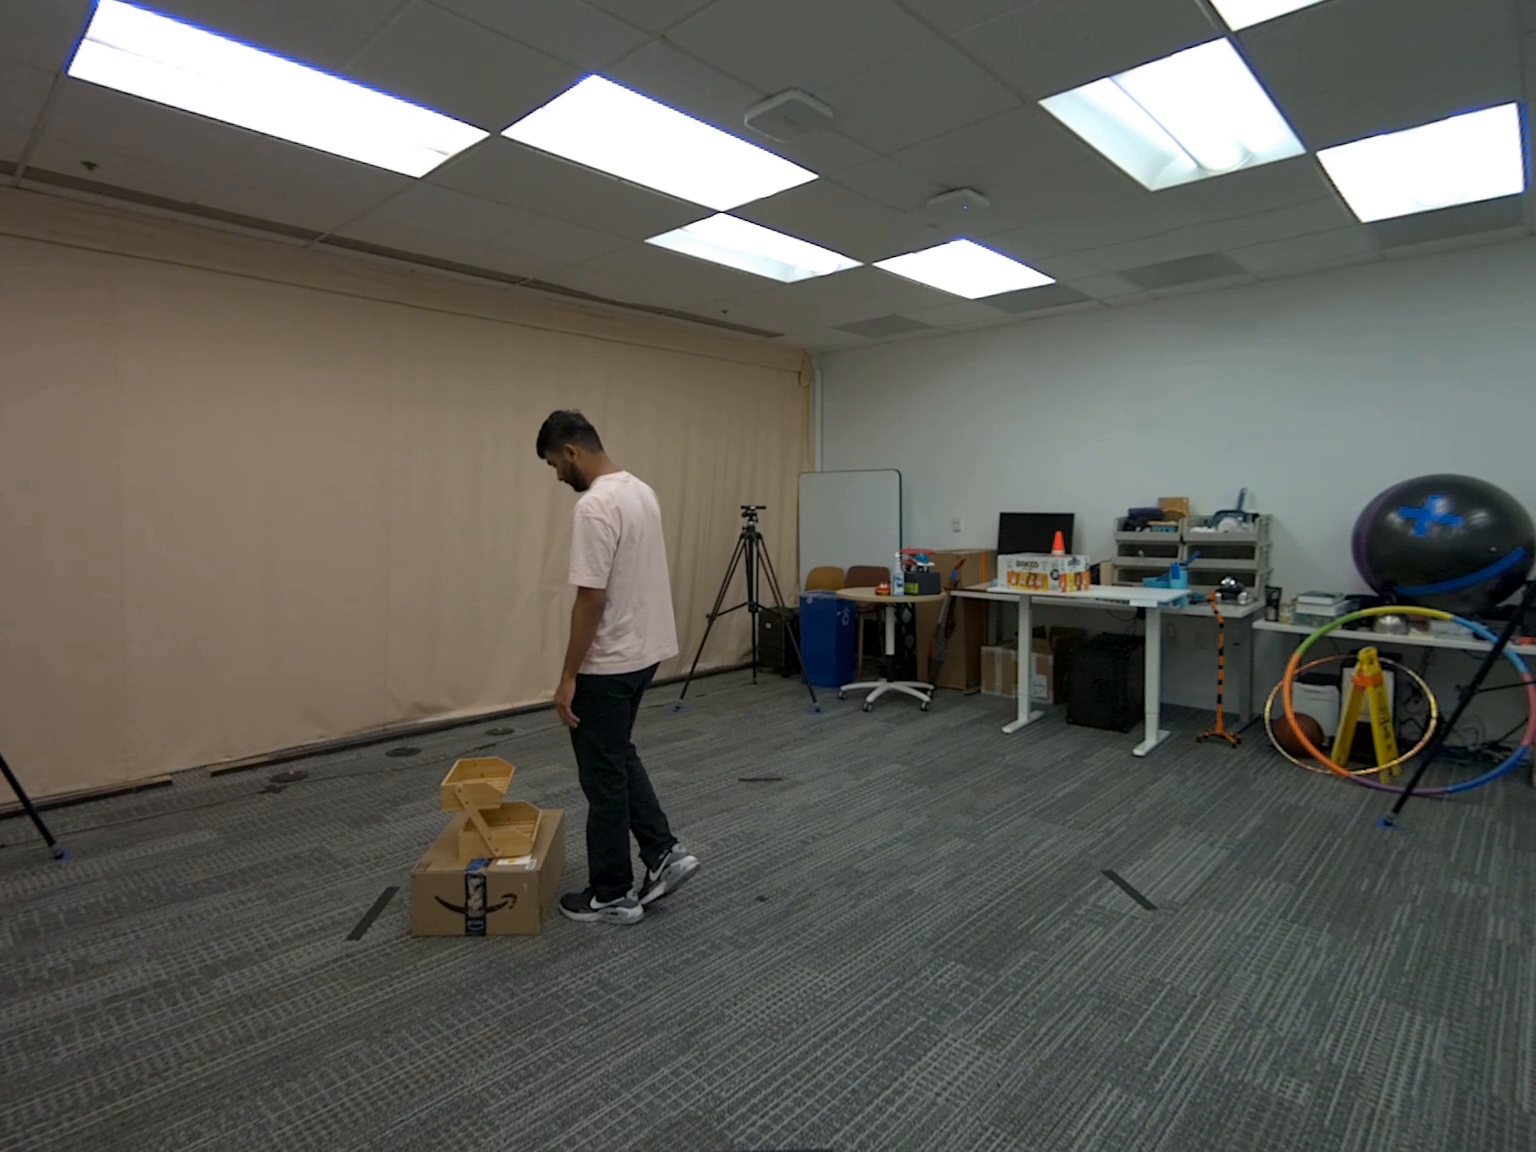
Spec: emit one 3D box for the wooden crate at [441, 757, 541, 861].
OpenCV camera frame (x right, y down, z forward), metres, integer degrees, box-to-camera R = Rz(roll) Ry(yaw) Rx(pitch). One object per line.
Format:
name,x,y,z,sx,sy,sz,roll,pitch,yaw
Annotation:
wooden crate,-0.956,0.808,2.982,0.299,0.273,0.328,-3,4,-9
